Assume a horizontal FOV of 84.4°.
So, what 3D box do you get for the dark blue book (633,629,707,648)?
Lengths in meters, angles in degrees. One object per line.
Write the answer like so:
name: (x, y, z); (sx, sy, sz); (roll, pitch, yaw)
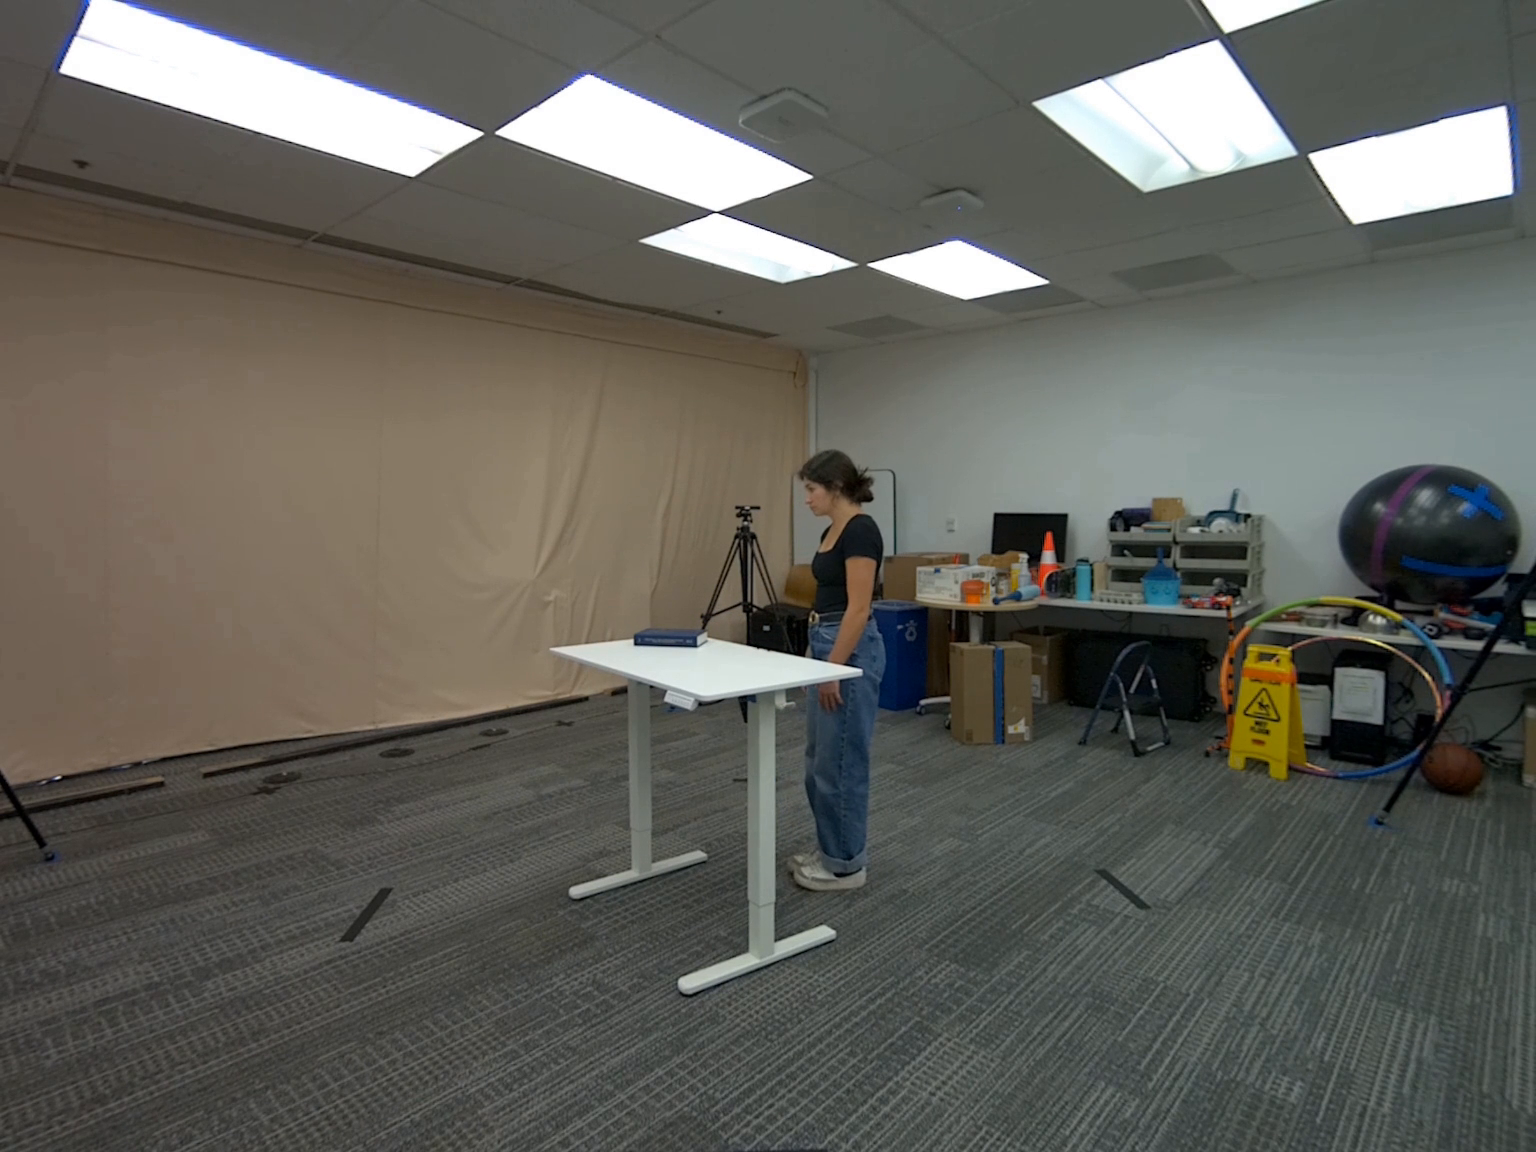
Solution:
dark blue book: (-0.361, 0.235, 3.145); (0.249, 0.045, 0.161); (0, 4, 14)
